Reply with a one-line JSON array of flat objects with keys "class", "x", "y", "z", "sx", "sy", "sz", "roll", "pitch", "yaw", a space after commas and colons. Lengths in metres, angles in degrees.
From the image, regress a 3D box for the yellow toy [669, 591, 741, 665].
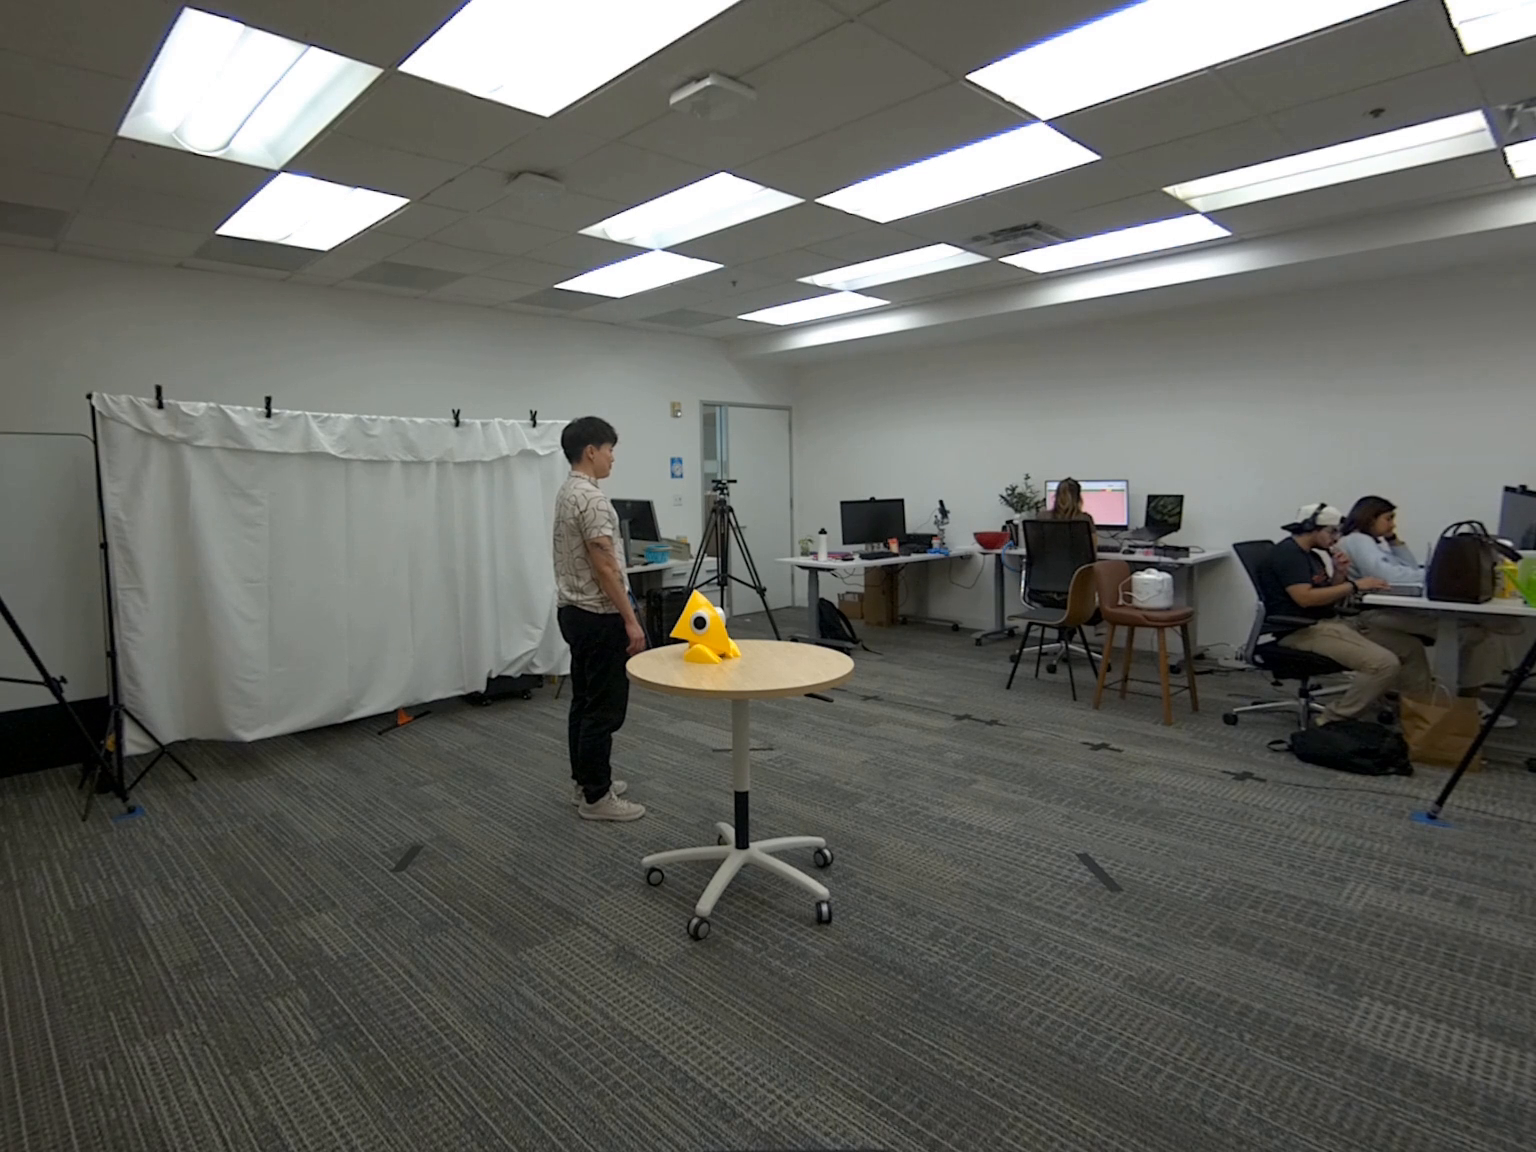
[{"class": "yellow toy", "x": -0.201, "y": 0.167, "z": 2.965, "sx": 0.199, "sy": 0.230, "sz": 0.200, "roll": 3, "pitch": 6, "yaw": 36}]
